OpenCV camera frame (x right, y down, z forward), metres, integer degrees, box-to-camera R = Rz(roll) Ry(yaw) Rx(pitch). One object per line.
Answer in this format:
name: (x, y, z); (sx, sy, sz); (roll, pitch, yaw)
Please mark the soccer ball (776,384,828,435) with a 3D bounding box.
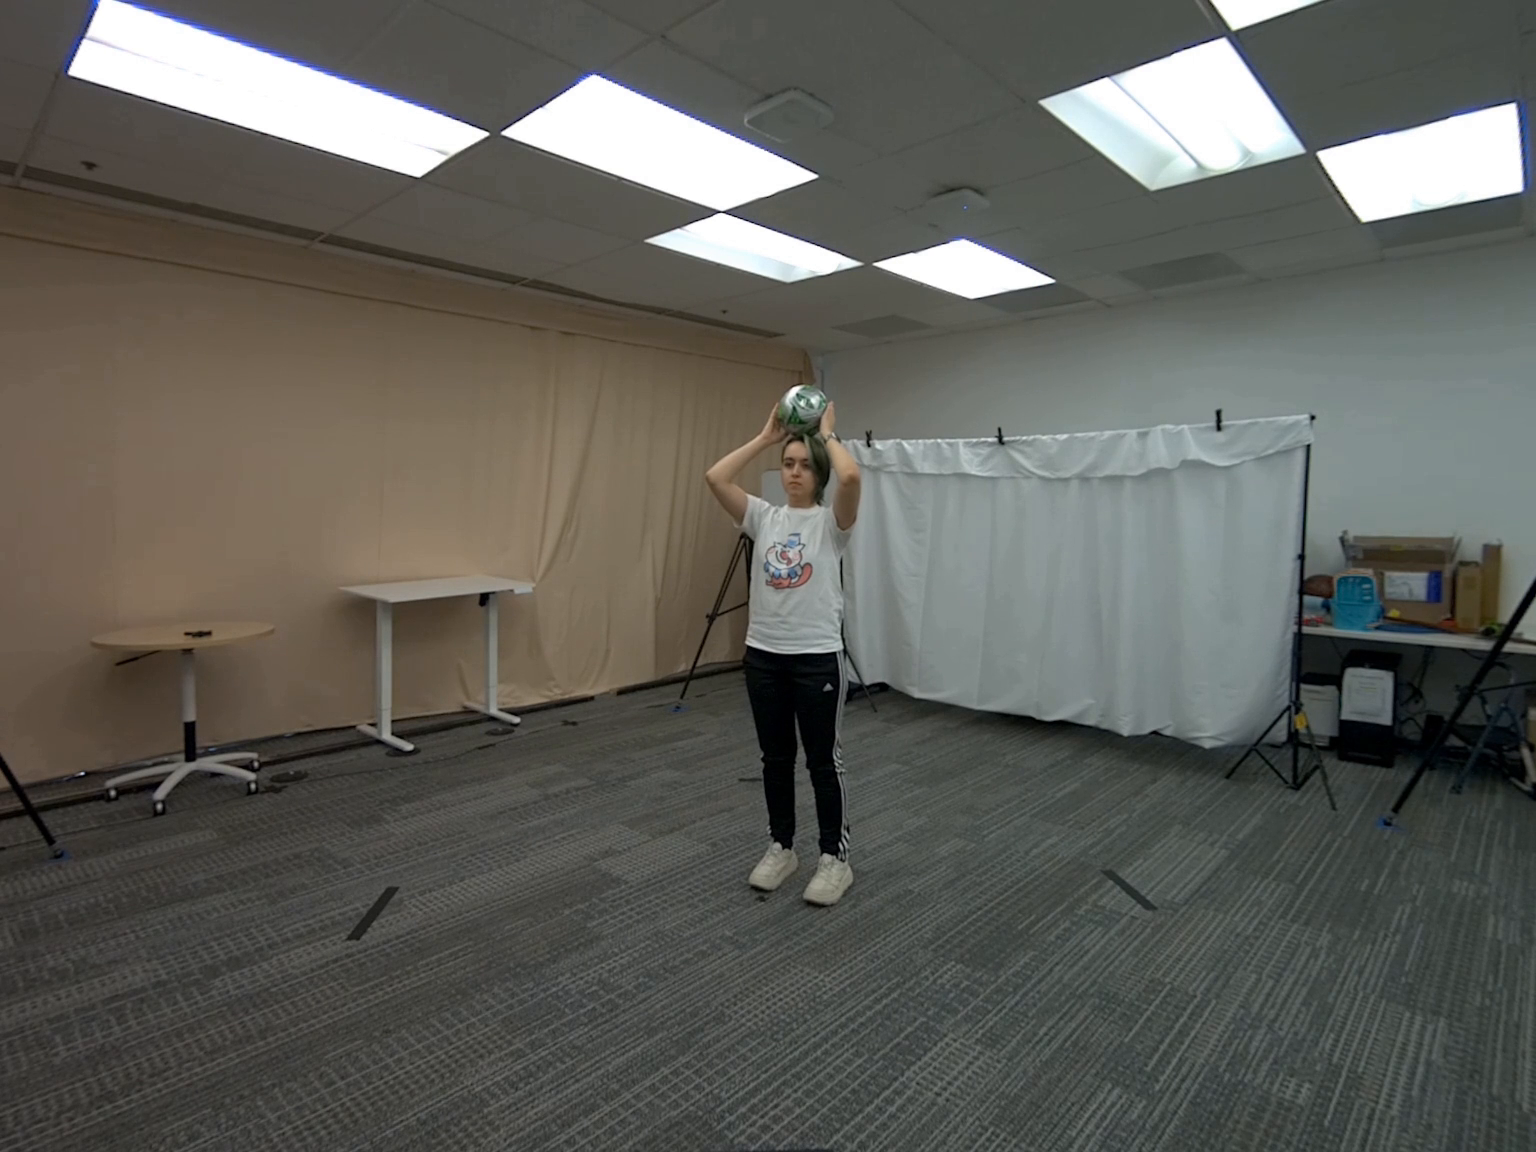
soccer ball: (0.131, -0.590, 3.038); (0.187, 0.187, 0.188); (0, 4, -2)
